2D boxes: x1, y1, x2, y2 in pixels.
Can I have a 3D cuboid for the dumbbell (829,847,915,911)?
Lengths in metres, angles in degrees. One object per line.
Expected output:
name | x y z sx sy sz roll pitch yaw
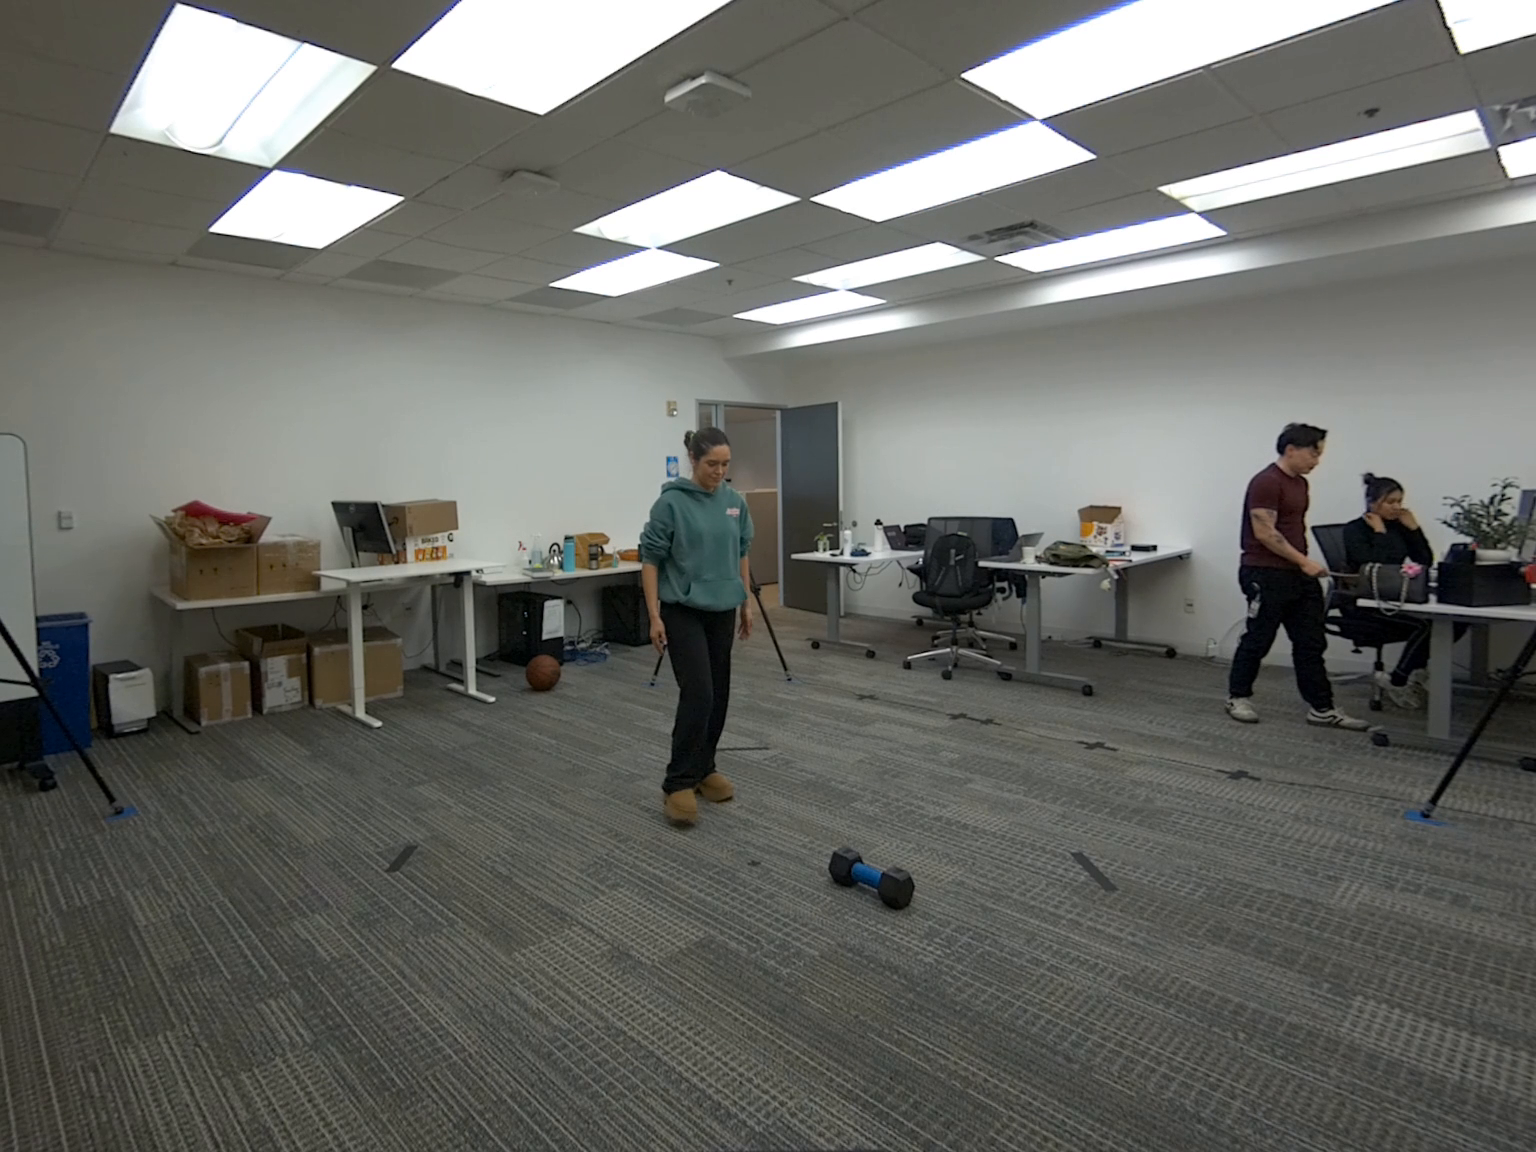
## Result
dumbbell | 0.349 1.011 2.867 0.120 0.108 0.303 -5 7 -42
